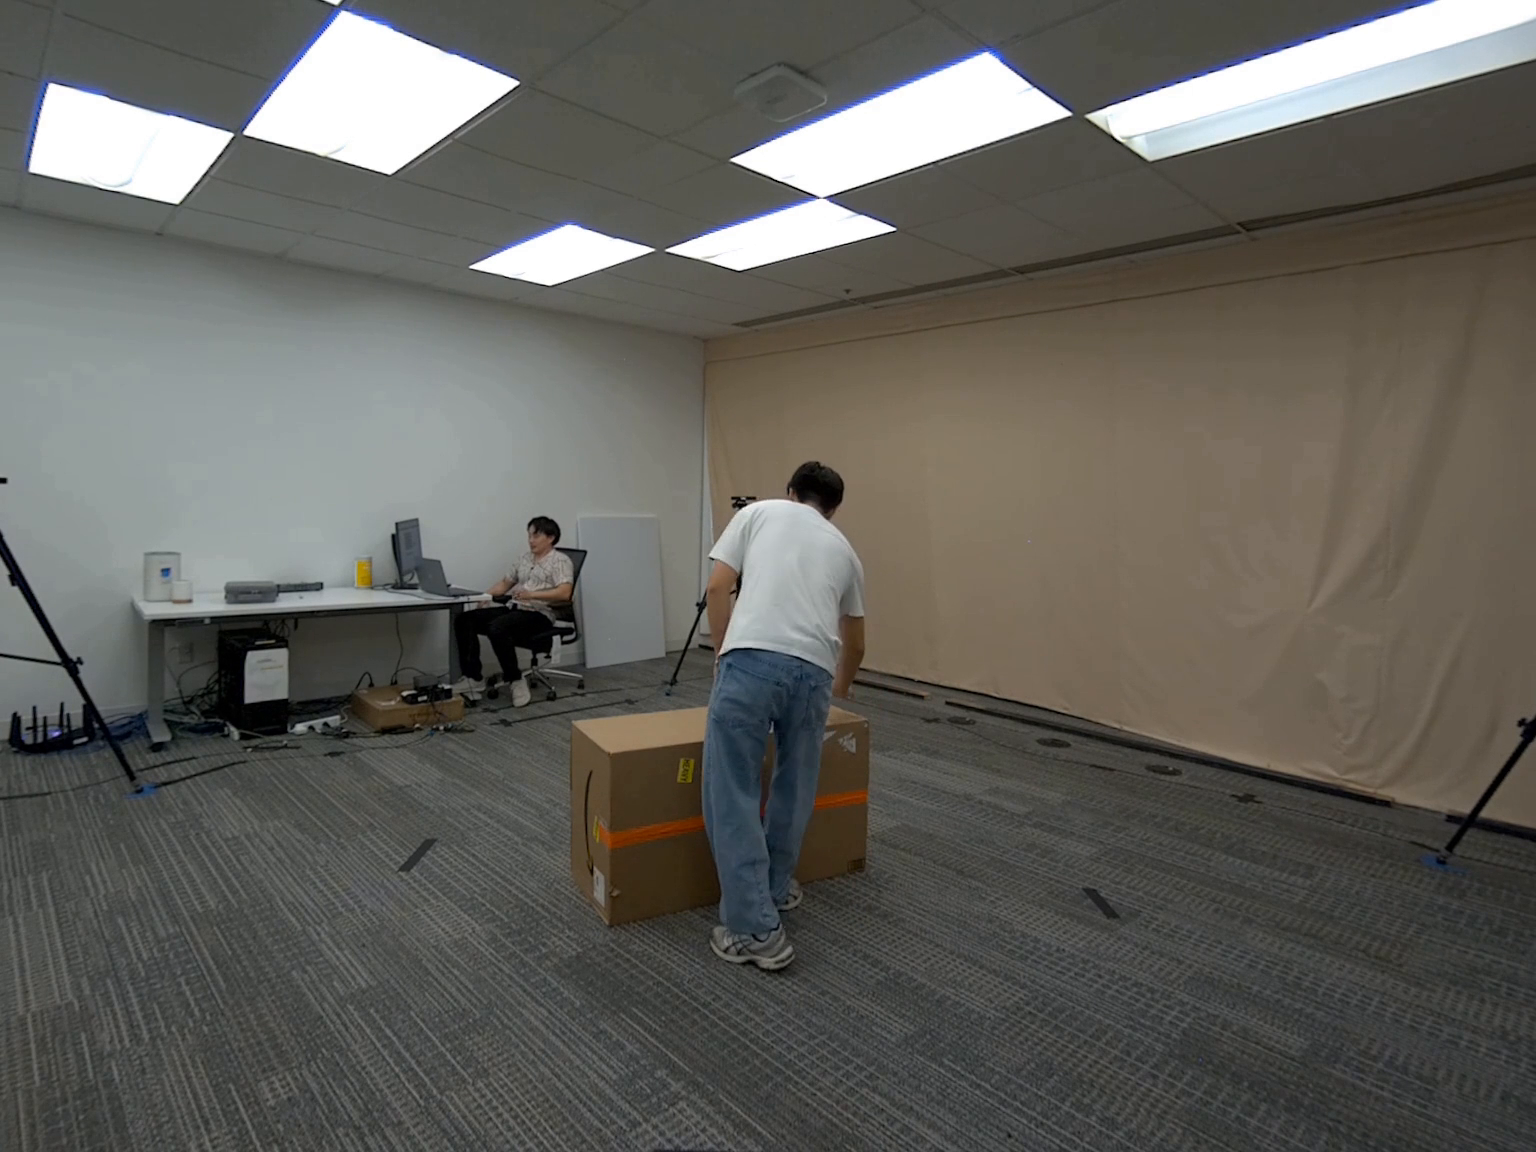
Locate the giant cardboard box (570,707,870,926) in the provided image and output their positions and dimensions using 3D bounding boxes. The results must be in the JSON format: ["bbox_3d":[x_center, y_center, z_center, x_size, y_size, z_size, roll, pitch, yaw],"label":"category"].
[{"bbox_3d":[-0.174,0.818,3.113,1.006,0.576,0.435,-1,4,-27],"label":"giant cardboard box"}]
